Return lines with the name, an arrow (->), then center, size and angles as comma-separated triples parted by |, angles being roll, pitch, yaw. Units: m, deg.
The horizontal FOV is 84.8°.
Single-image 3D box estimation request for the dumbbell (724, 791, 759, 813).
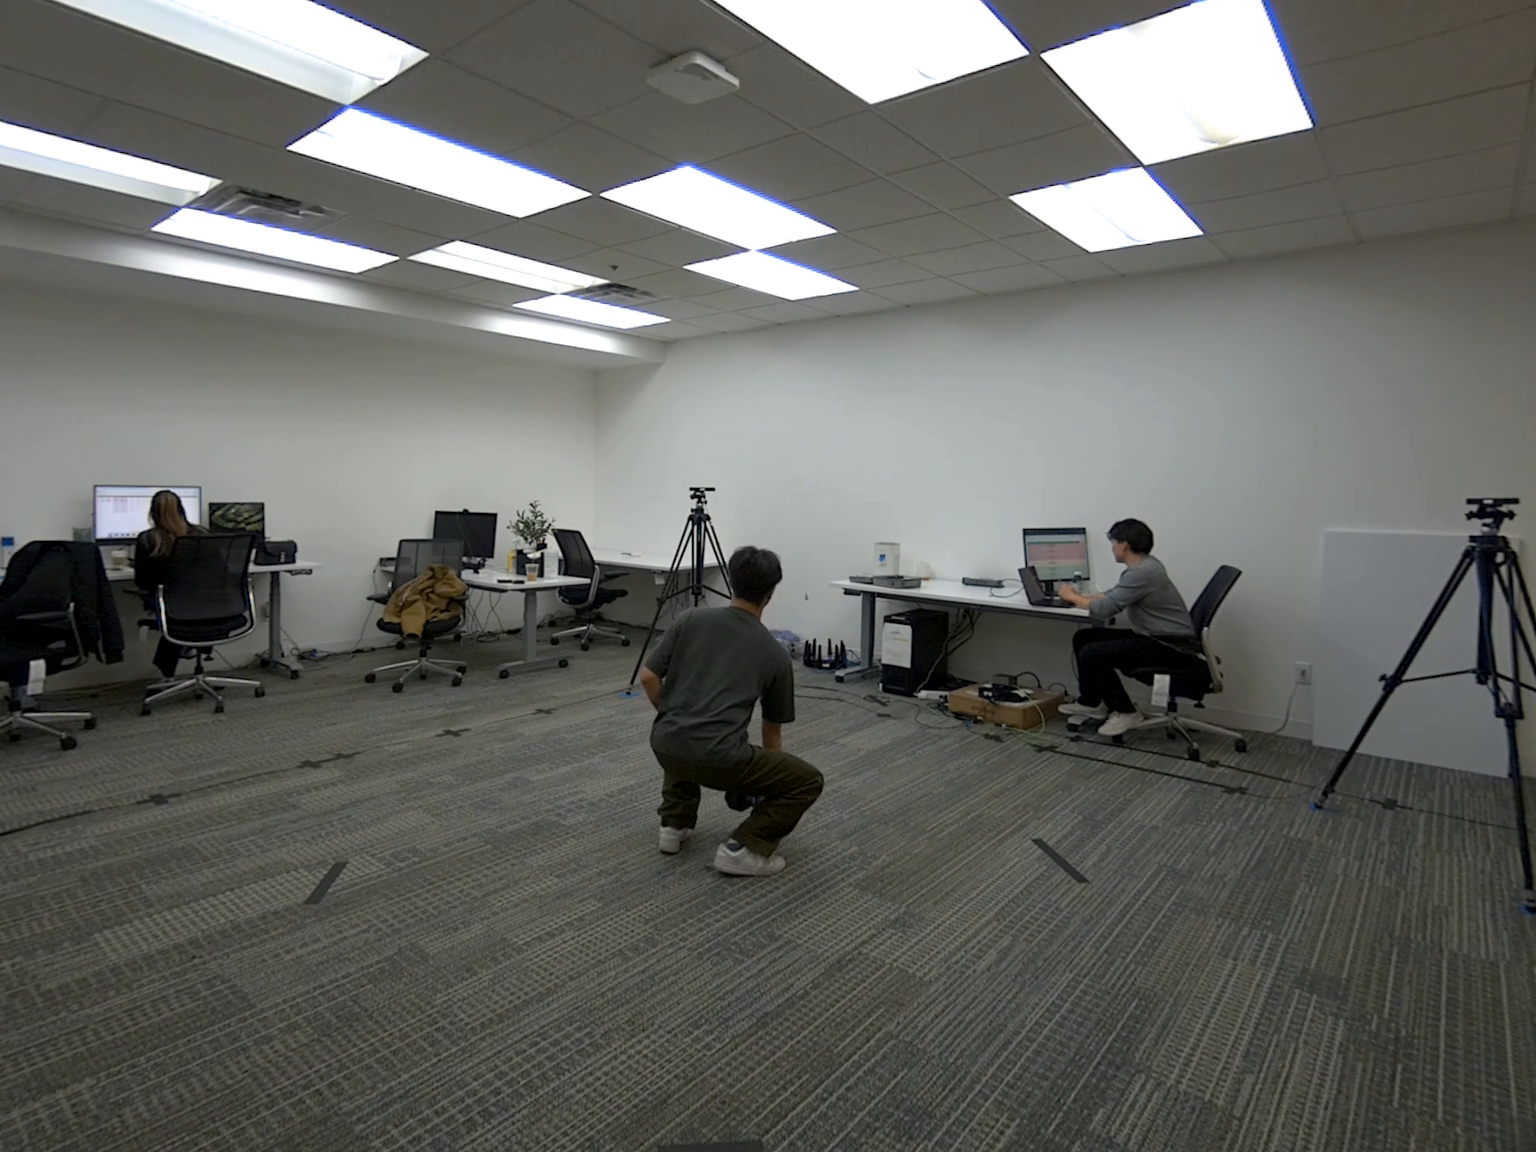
dumbbell -> -0.038, 0.891, 3.364 | 0.303, 0.124, 0.104 | 6, -22, 38
